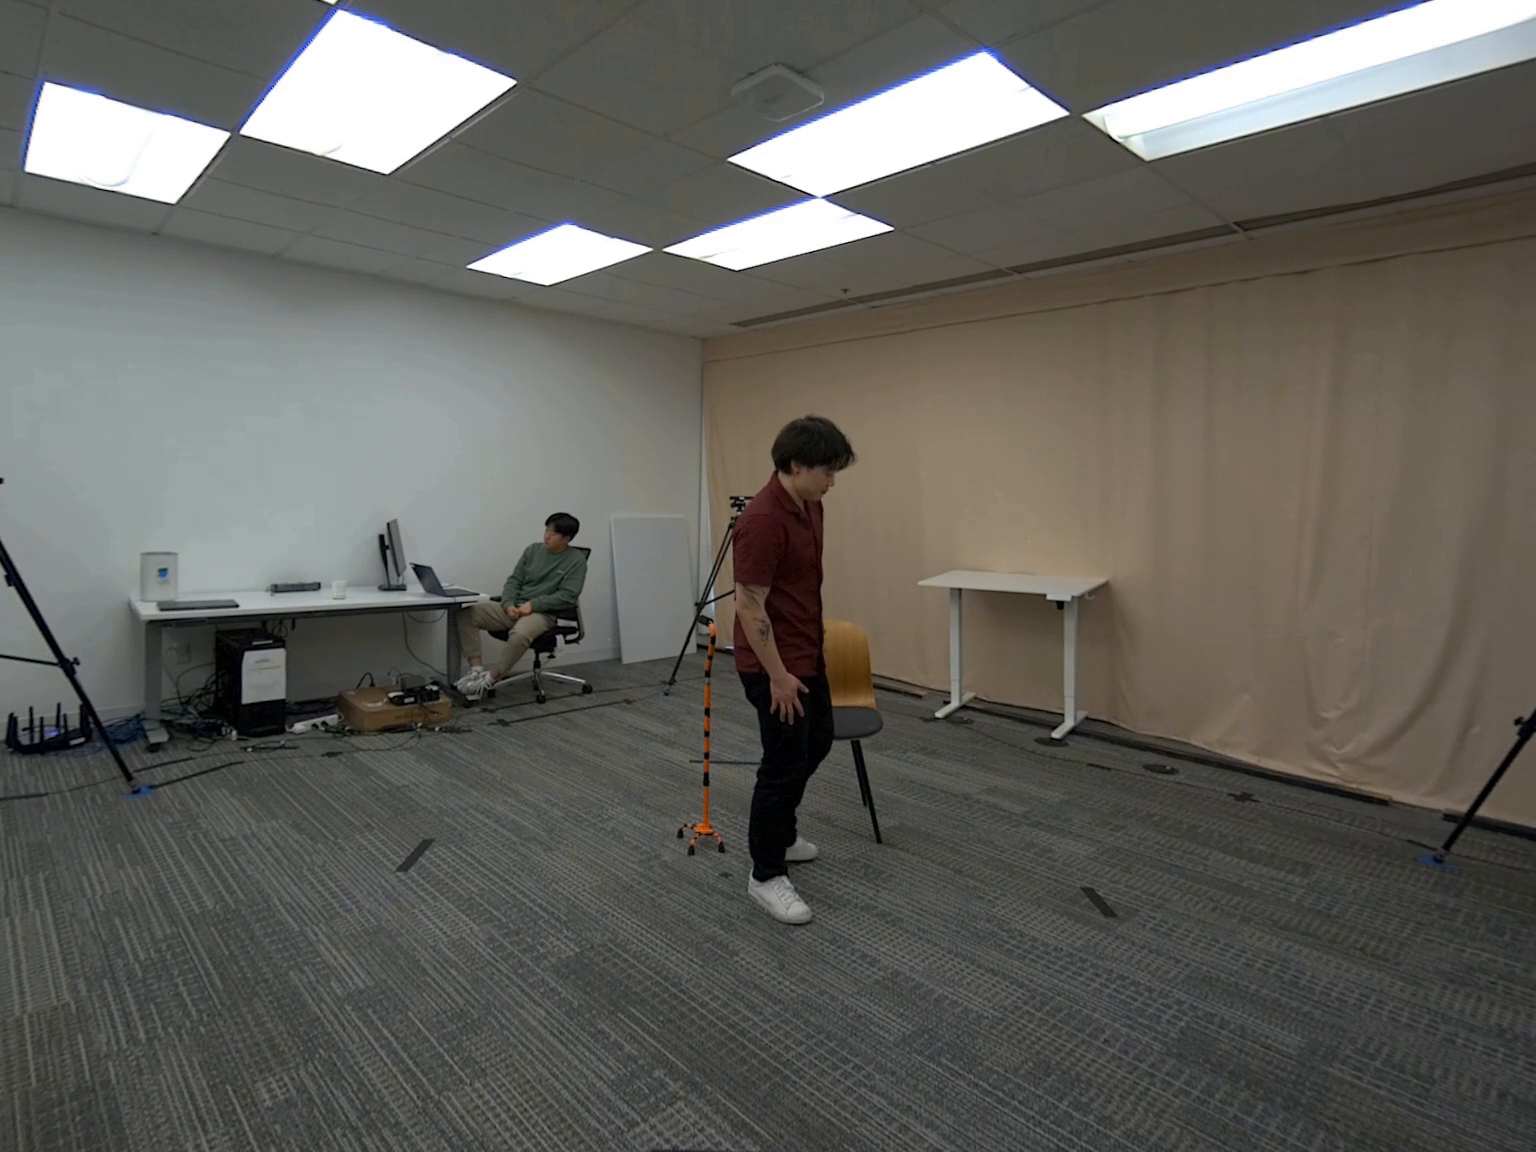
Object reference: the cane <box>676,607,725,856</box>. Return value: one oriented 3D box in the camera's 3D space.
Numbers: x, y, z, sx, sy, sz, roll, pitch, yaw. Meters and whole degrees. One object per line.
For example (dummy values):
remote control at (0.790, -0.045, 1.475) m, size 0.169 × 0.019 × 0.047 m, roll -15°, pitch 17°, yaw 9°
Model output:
cane at (-0.264, 0.622, 3.356) m, size 0.149 × 0.906 × 0.210 m, roll 1°, pitch 3°, yaw -22°
